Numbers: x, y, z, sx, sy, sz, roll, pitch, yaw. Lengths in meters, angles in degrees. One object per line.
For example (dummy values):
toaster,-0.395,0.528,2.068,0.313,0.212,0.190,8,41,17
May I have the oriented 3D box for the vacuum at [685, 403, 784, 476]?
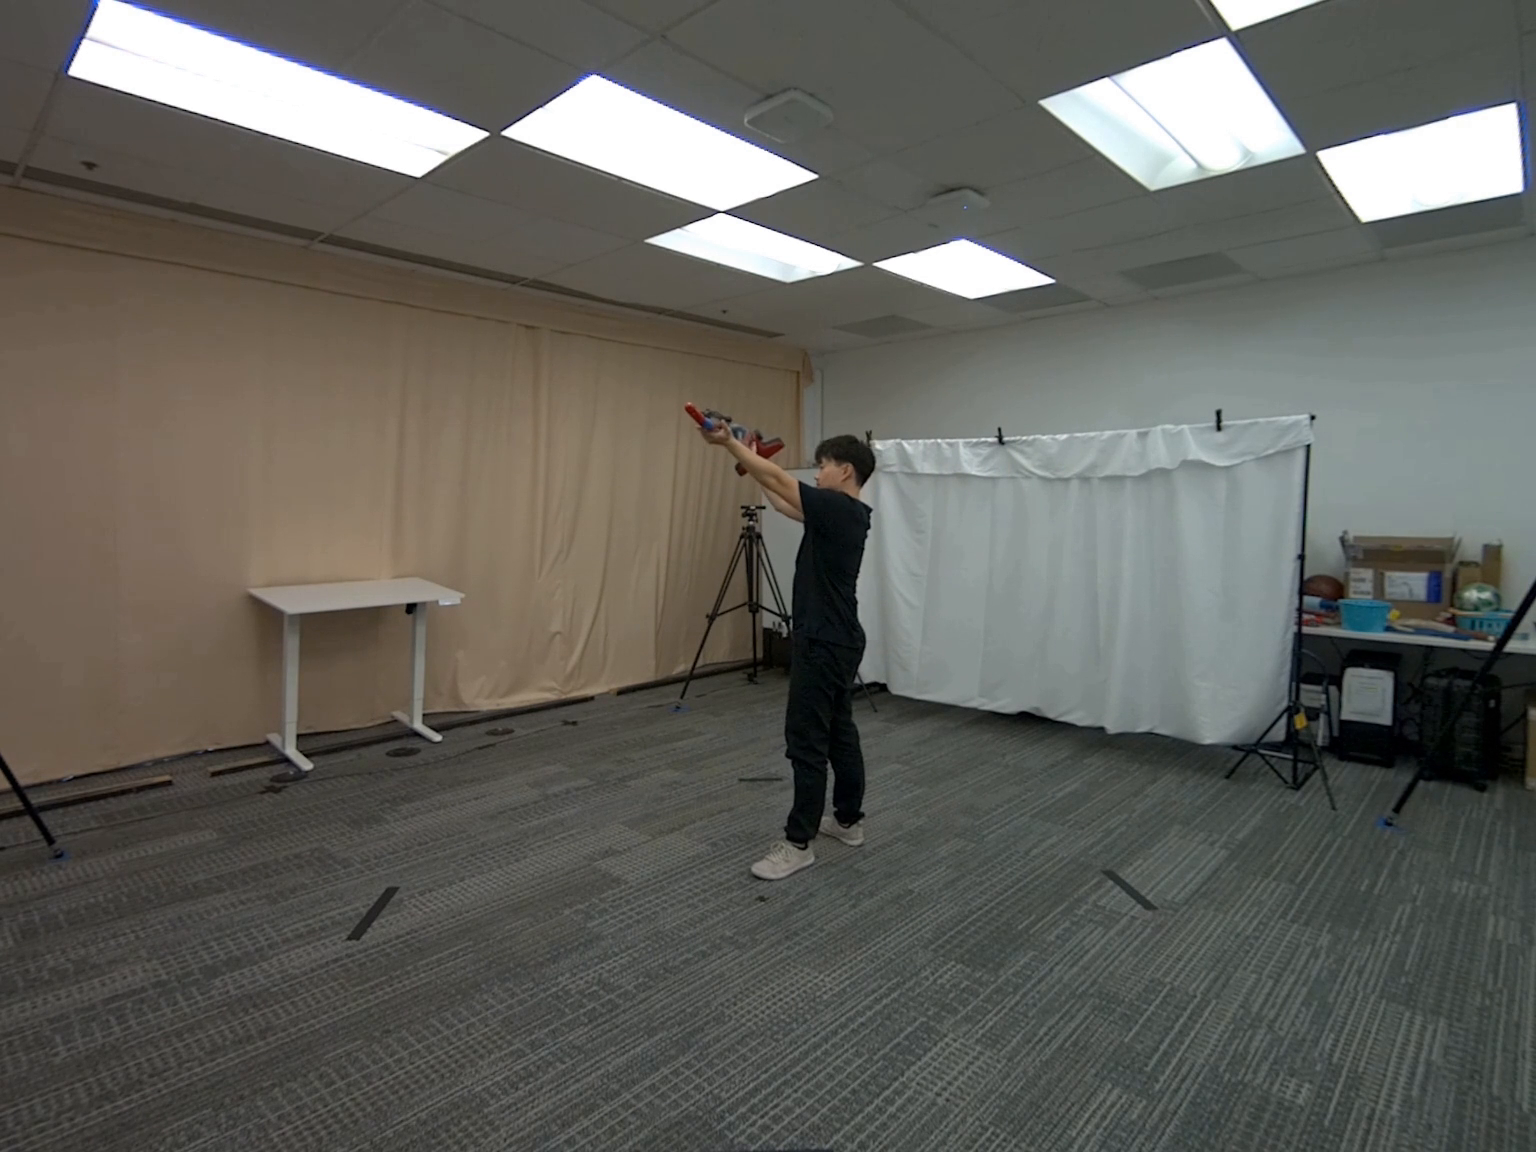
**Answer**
vacuum,-0.161,-0.576,3.356,0.254,0.145,1.032,-30,-7,10
